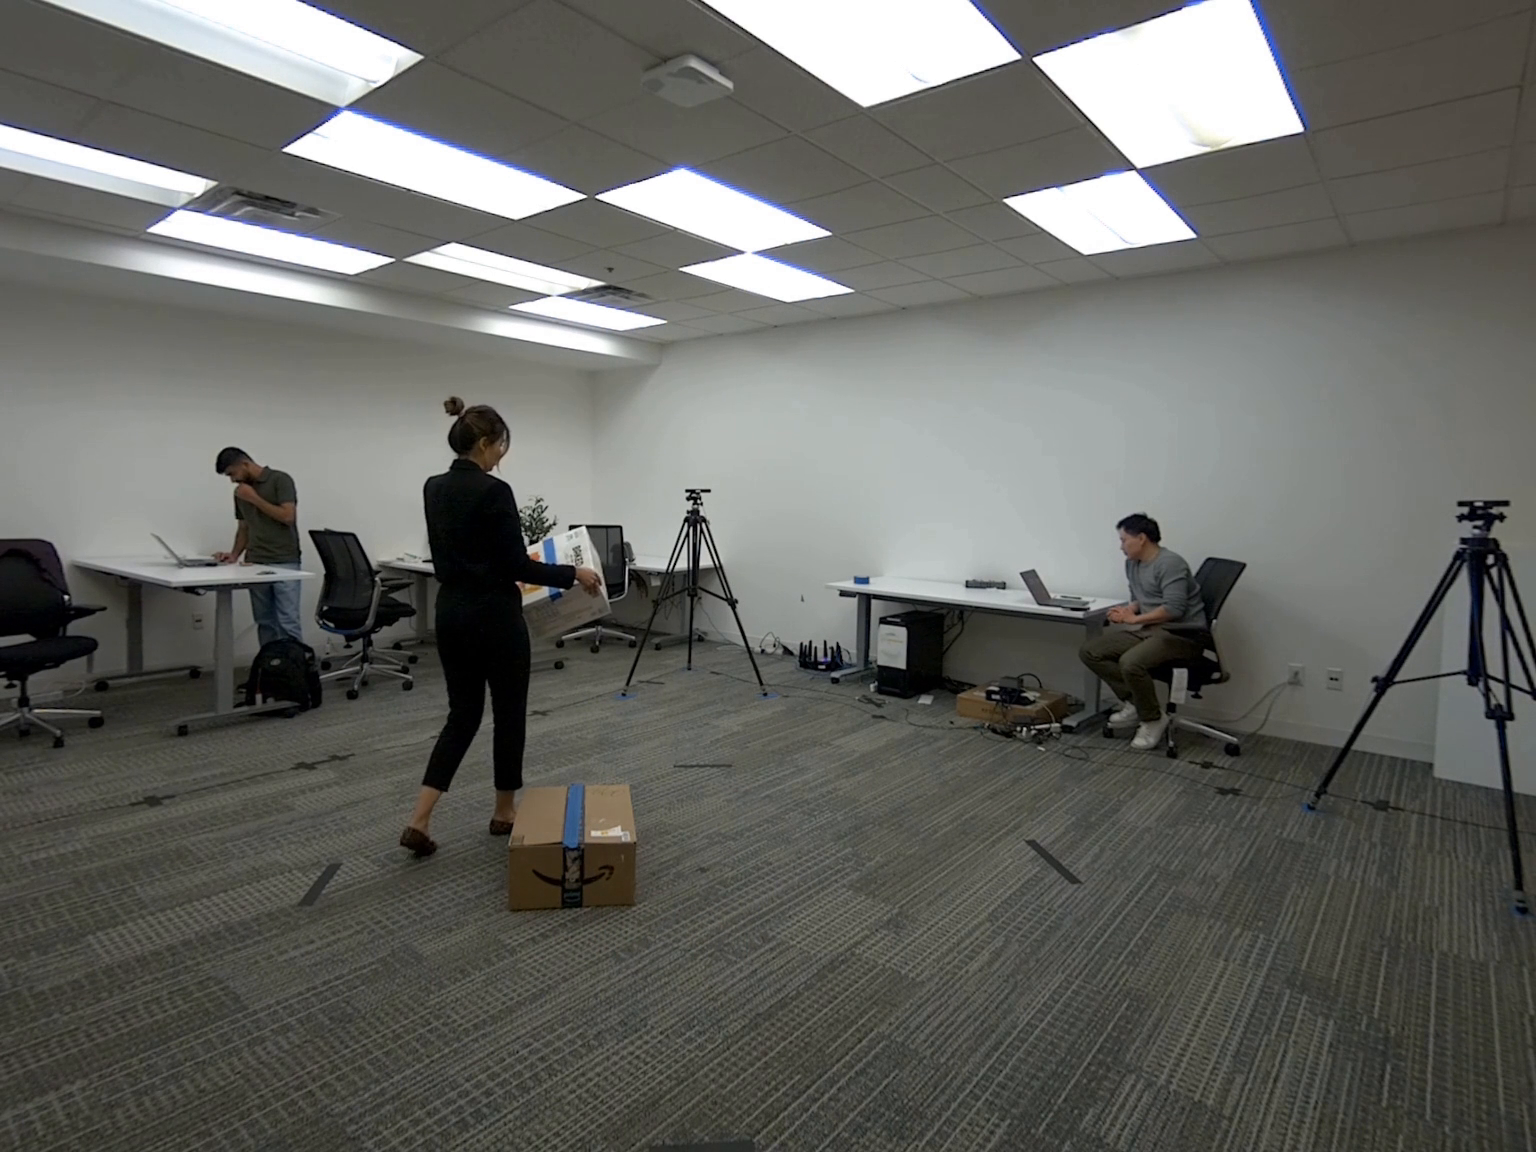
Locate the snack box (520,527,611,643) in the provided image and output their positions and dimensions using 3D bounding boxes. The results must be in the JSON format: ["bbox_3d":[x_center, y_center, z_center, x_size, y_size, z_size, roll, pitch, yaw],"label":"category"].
[{"bbox_3d":[-0.913,0.022,3.676,0.340,0.198,0.421,-22,40,-3],"label":"snack box"}]
